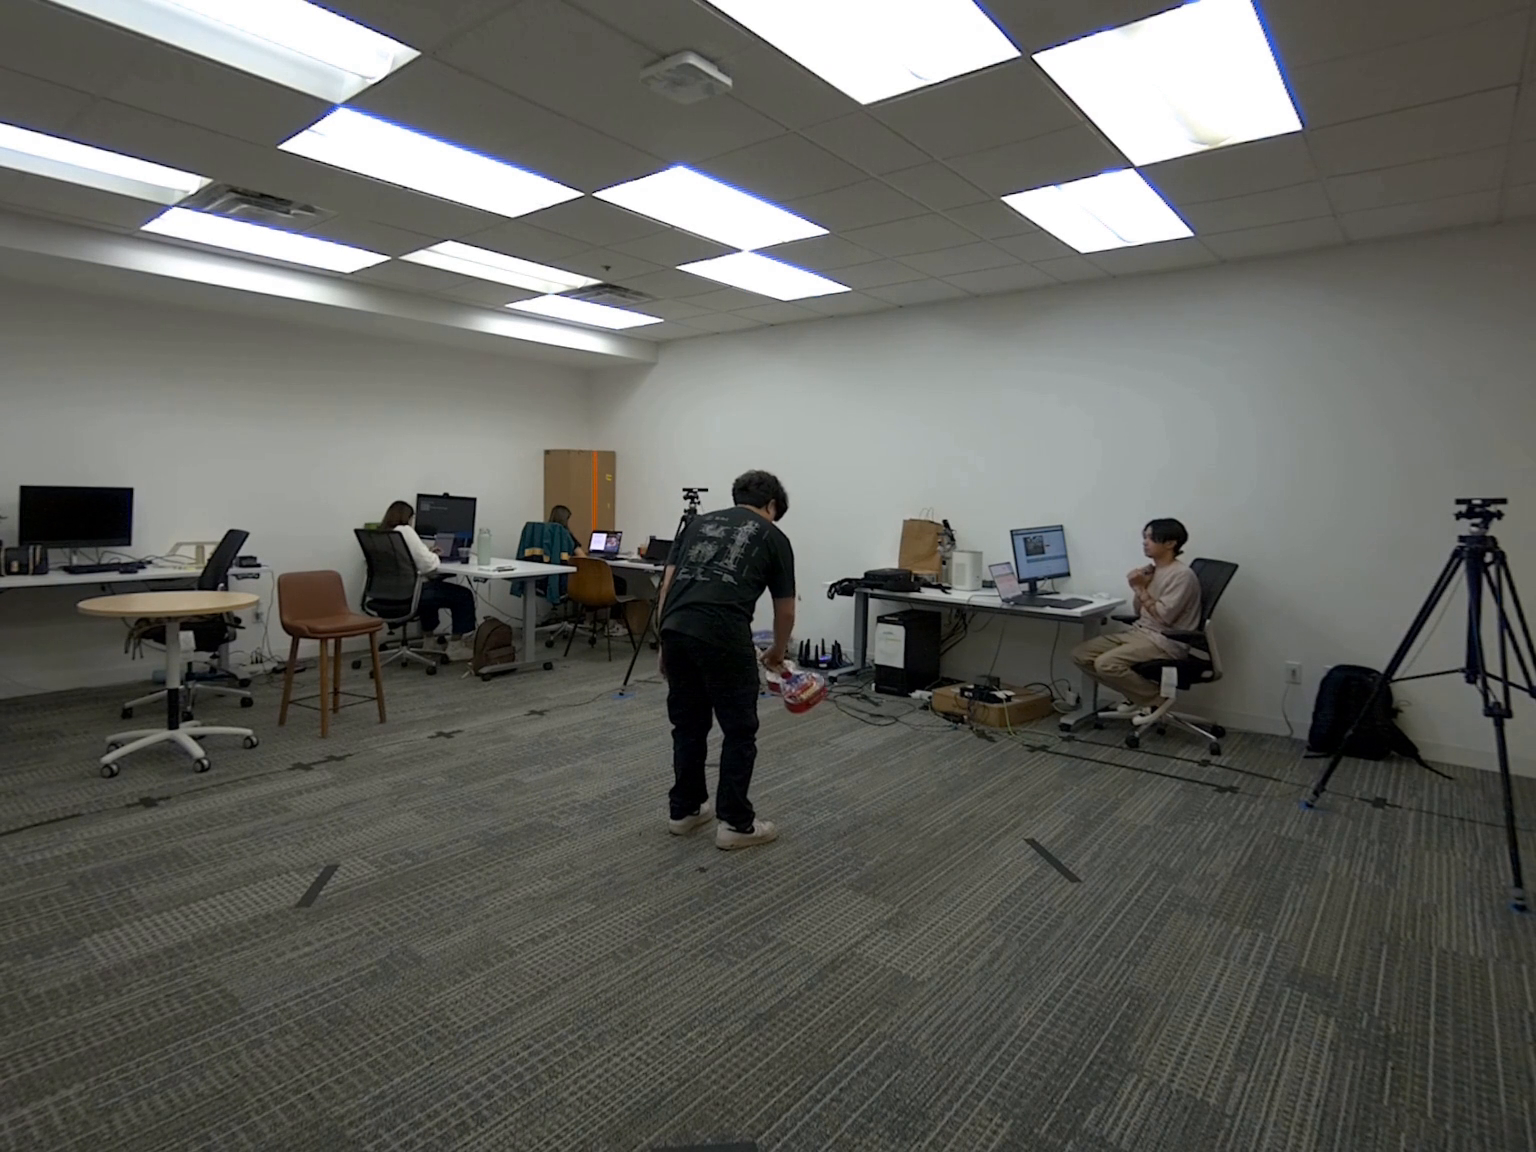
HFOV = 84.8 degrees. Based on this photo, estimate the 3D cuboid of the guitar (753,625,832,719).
[{"bbox_3d":[0.049,0.407,3.675,0.191,0.068,0.519,-26,37,-18],"label":"guitar"}]
